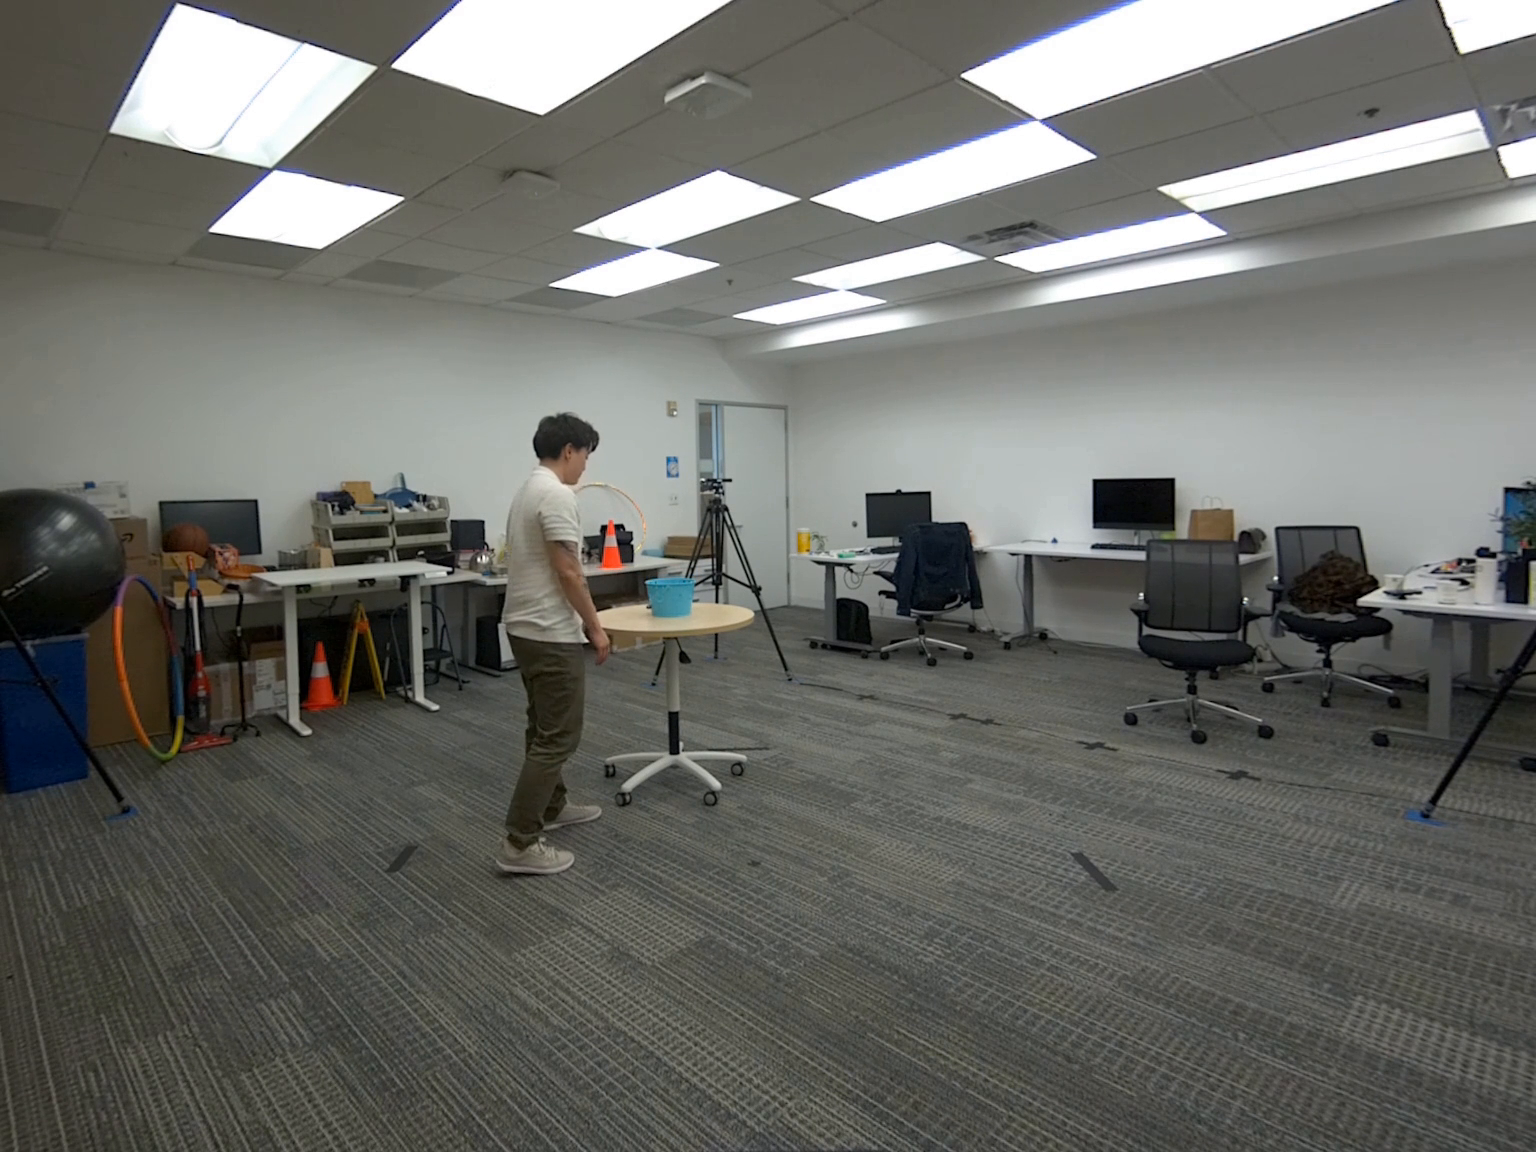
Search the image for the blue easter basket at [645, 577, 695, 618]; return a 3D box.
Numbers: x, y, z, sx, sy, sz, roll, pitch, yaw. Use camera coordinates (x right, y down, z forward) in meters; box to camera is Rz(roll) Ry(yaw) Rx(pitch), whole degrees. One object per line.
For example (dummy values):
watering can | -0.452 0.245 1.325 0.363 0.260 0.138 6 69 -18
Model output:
blue easter basket | -0.452 0.101 3.947 0.243 0.155 0.245 -2 5 -2
